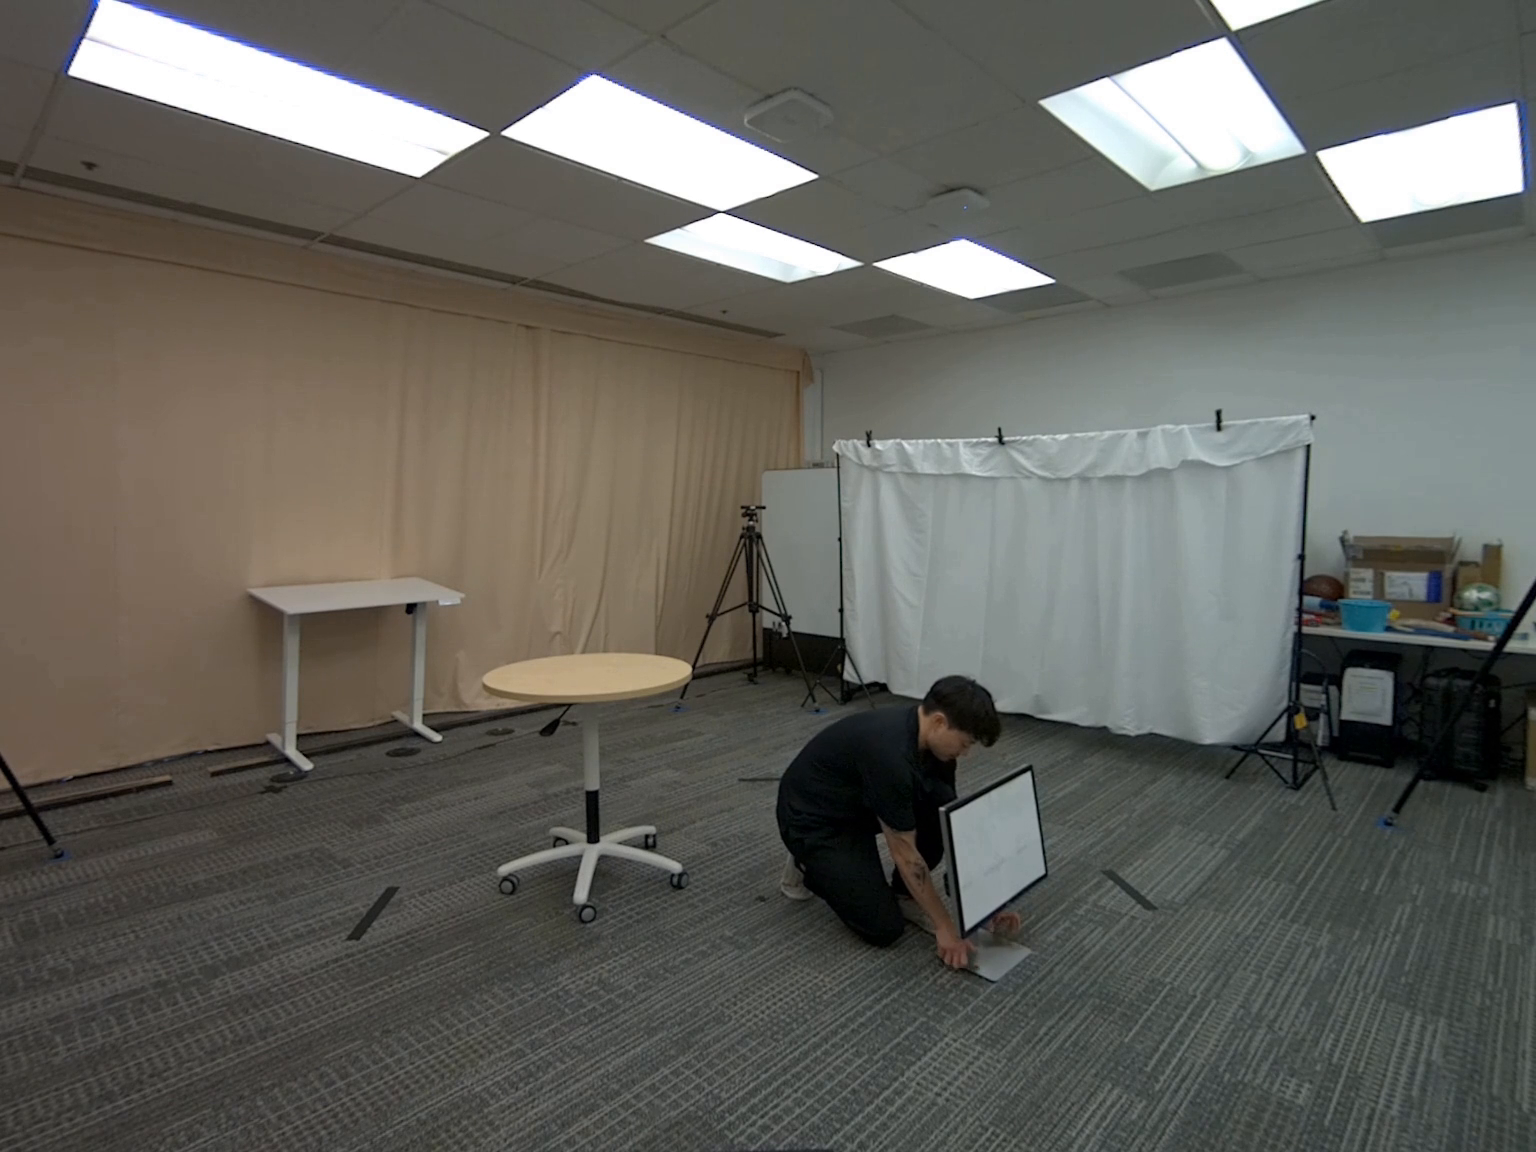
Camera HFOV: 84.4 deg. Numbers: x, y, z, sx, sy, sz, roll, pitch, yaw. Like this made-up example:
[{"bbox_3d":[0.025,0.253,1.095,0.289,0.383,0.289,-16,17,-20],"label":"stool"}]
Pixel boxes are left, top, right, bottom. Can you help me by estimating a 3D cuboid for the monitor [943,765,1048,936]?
[{"bbox_3d":[0.683,0.907,2.583,0.193,0.521,0.523,7,8,41],"label":"monitor"}]
